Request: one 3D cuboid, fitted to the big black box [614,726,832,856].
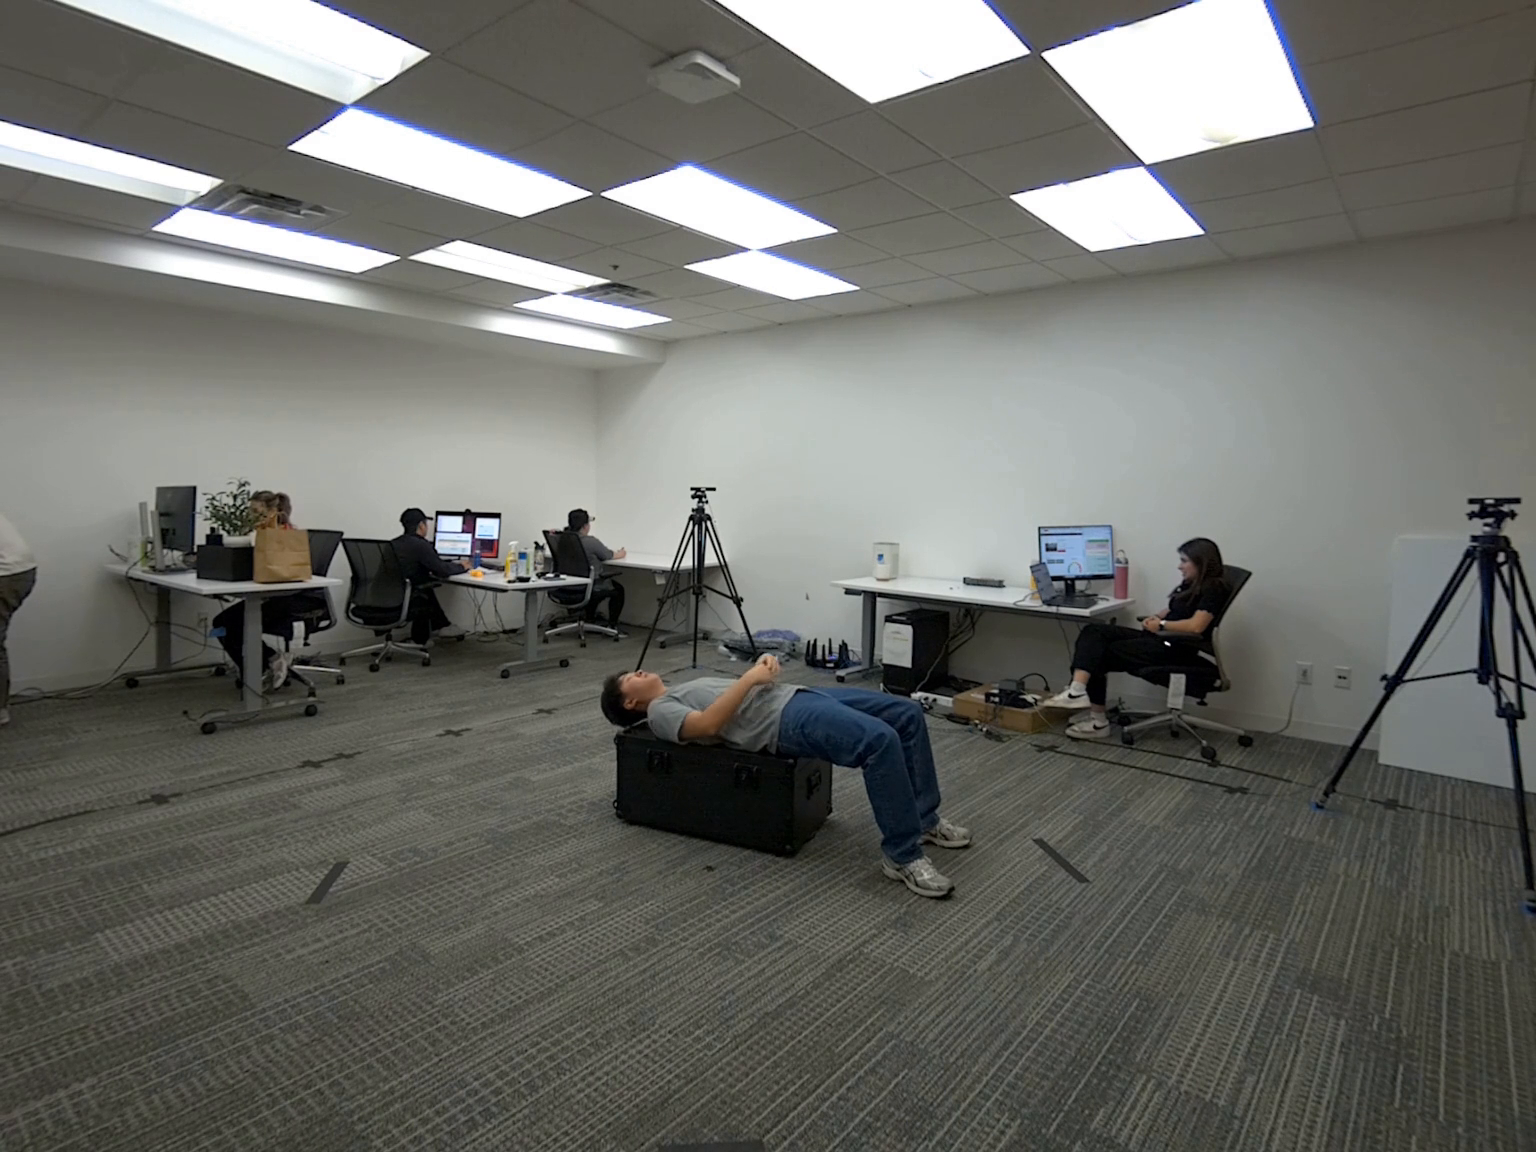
[{"bbox_3d":[-0.214,0.837,3.573,0.884,0.394,0.510,4,6,24],"label":"big black box"}]
